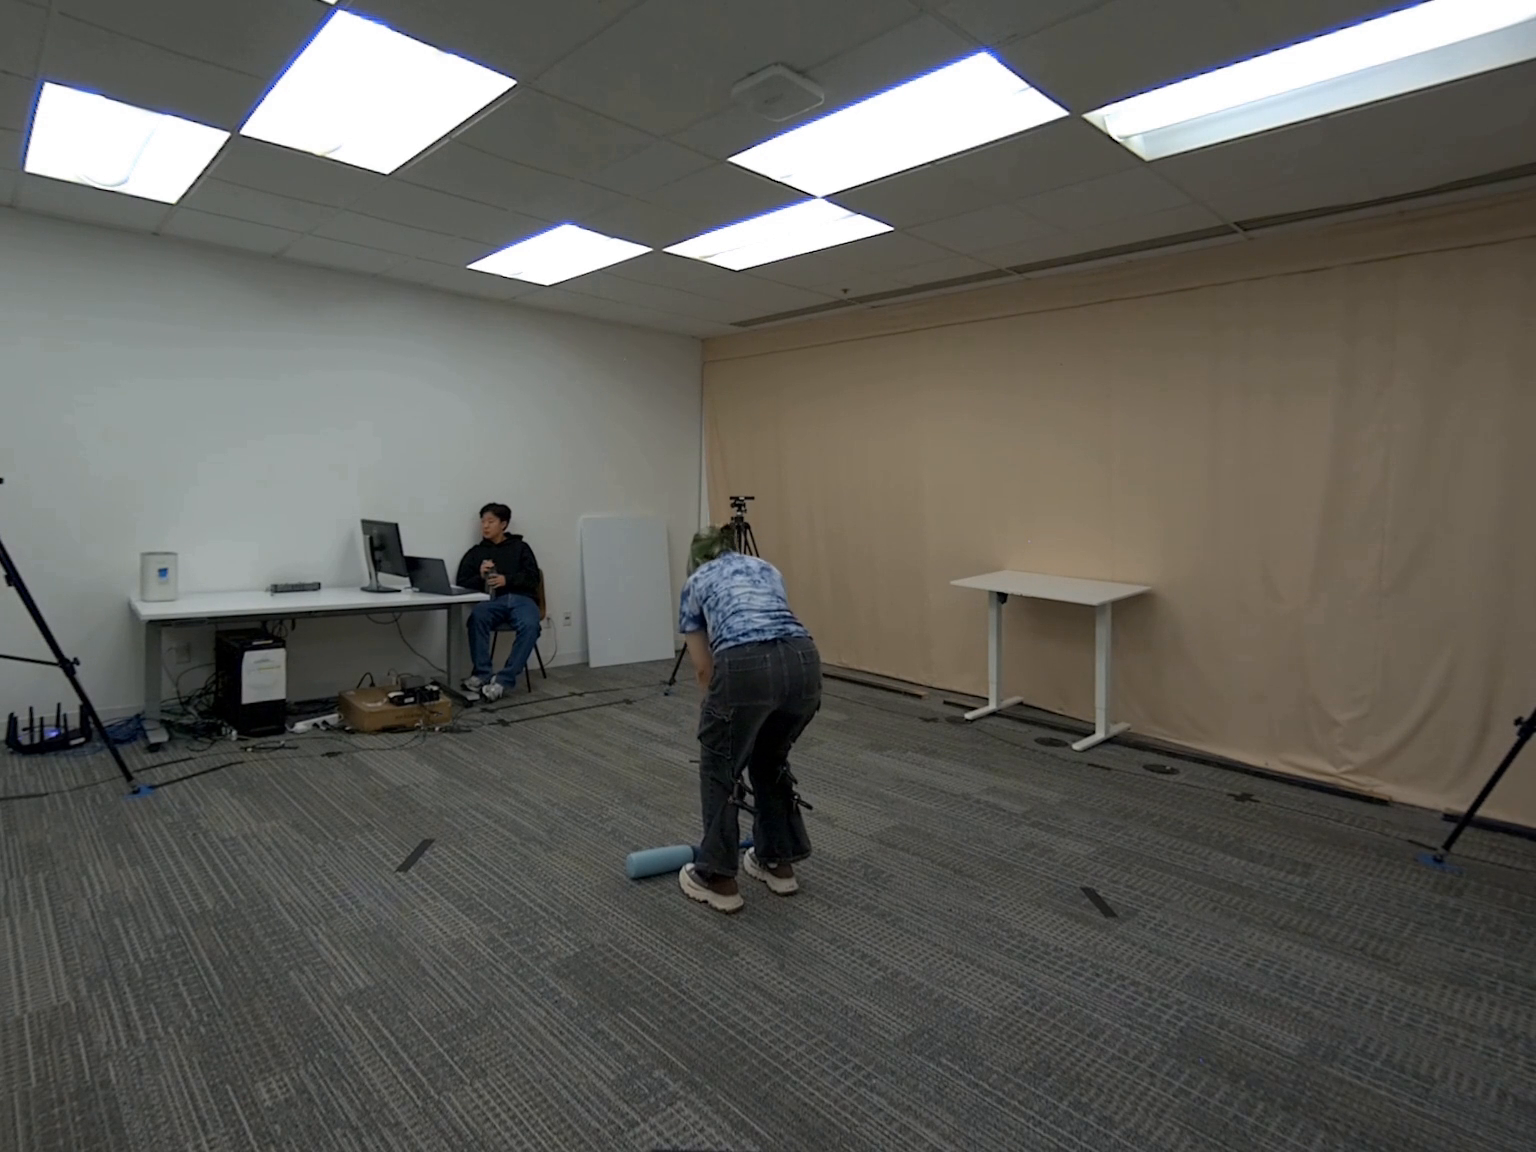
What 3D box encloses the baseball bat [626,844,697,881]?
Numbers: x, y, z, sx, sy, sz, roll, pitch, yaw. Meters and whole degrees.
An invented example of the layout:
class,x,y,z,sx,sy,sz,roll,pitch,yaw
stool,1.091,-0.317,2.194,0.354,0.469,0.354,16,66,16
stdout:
class,x,y,z,sx,sy,sz,roll,pitch,yaw
baseball bat,-0.281,1.051,3.185,0.531,0.089,0.091,0,4,-31
